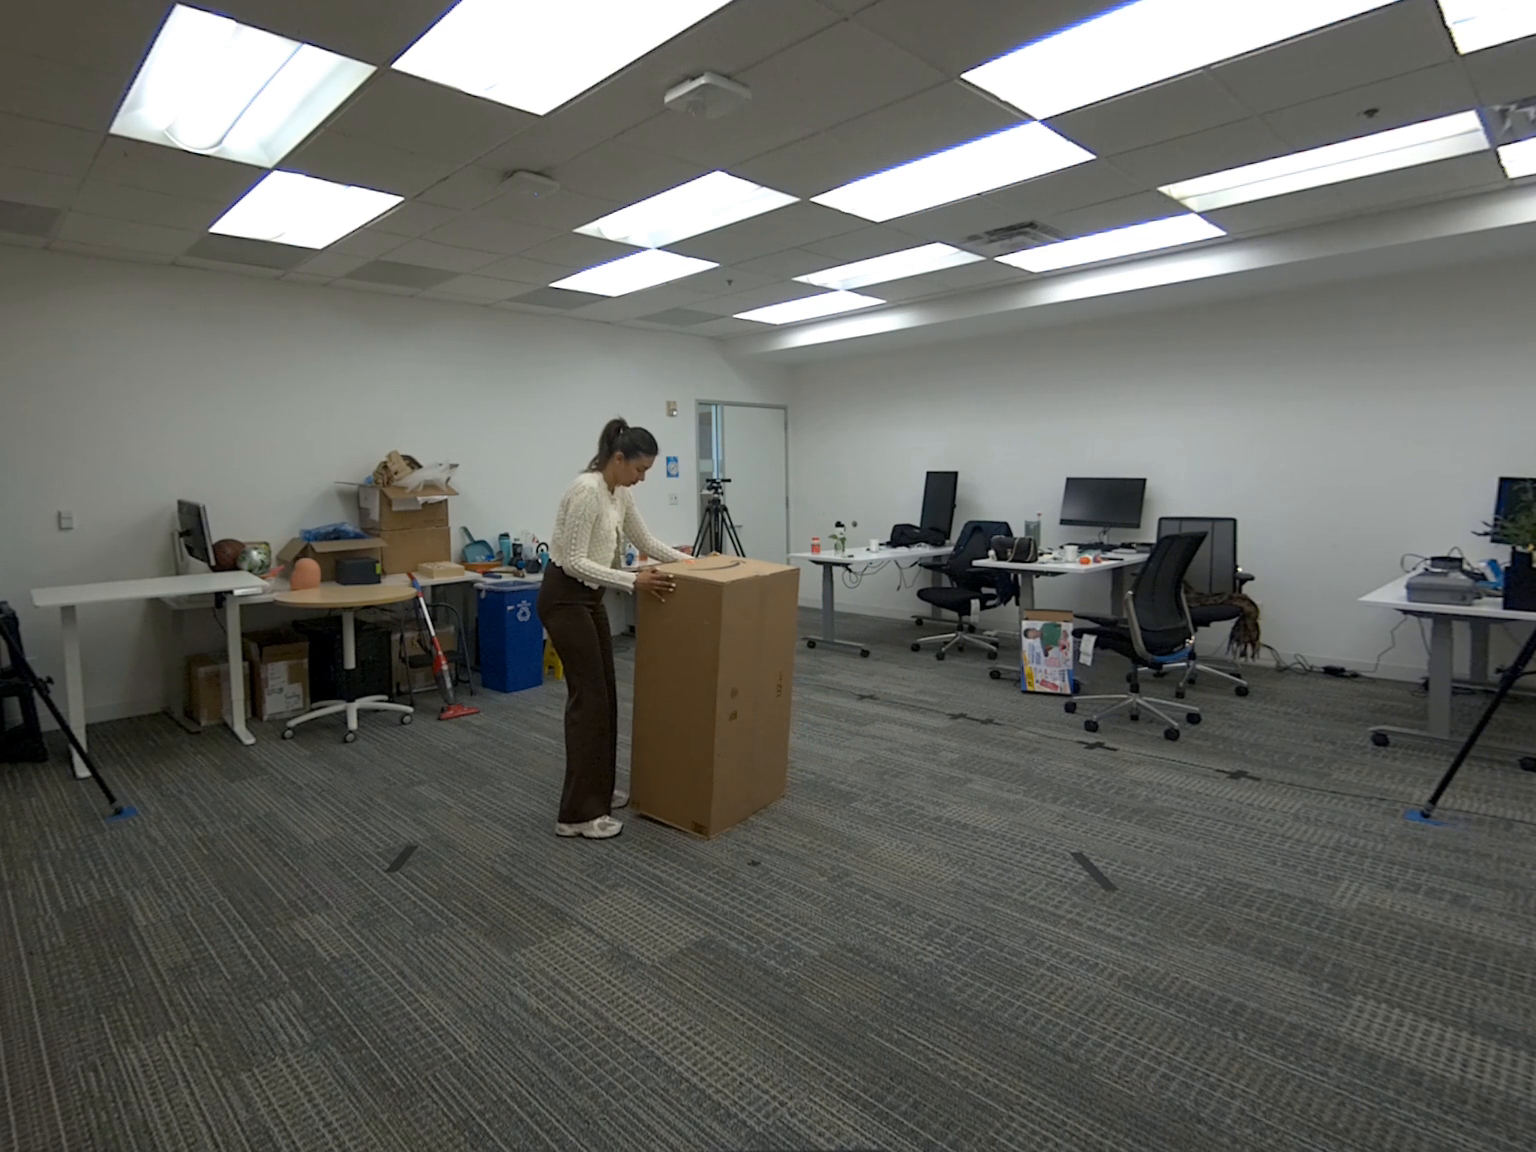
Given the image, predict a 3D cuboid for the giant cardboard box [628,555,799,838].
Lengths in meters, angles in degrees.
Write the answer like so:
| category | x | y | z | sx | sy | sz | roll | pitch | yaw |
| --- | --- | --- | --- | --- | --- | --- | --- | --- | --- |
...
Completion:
| category | x | y | z | sx | sy | sz | roll | pitch | yaw |
| --- | --- | --- | --- | --- | --- | --- | --- | --- | --- |
| giant cardboard box | -0.216 | 0.470 | 3.595 | 0.439 | 1.019 | 0.564 | 8 | 9 | 32 |
